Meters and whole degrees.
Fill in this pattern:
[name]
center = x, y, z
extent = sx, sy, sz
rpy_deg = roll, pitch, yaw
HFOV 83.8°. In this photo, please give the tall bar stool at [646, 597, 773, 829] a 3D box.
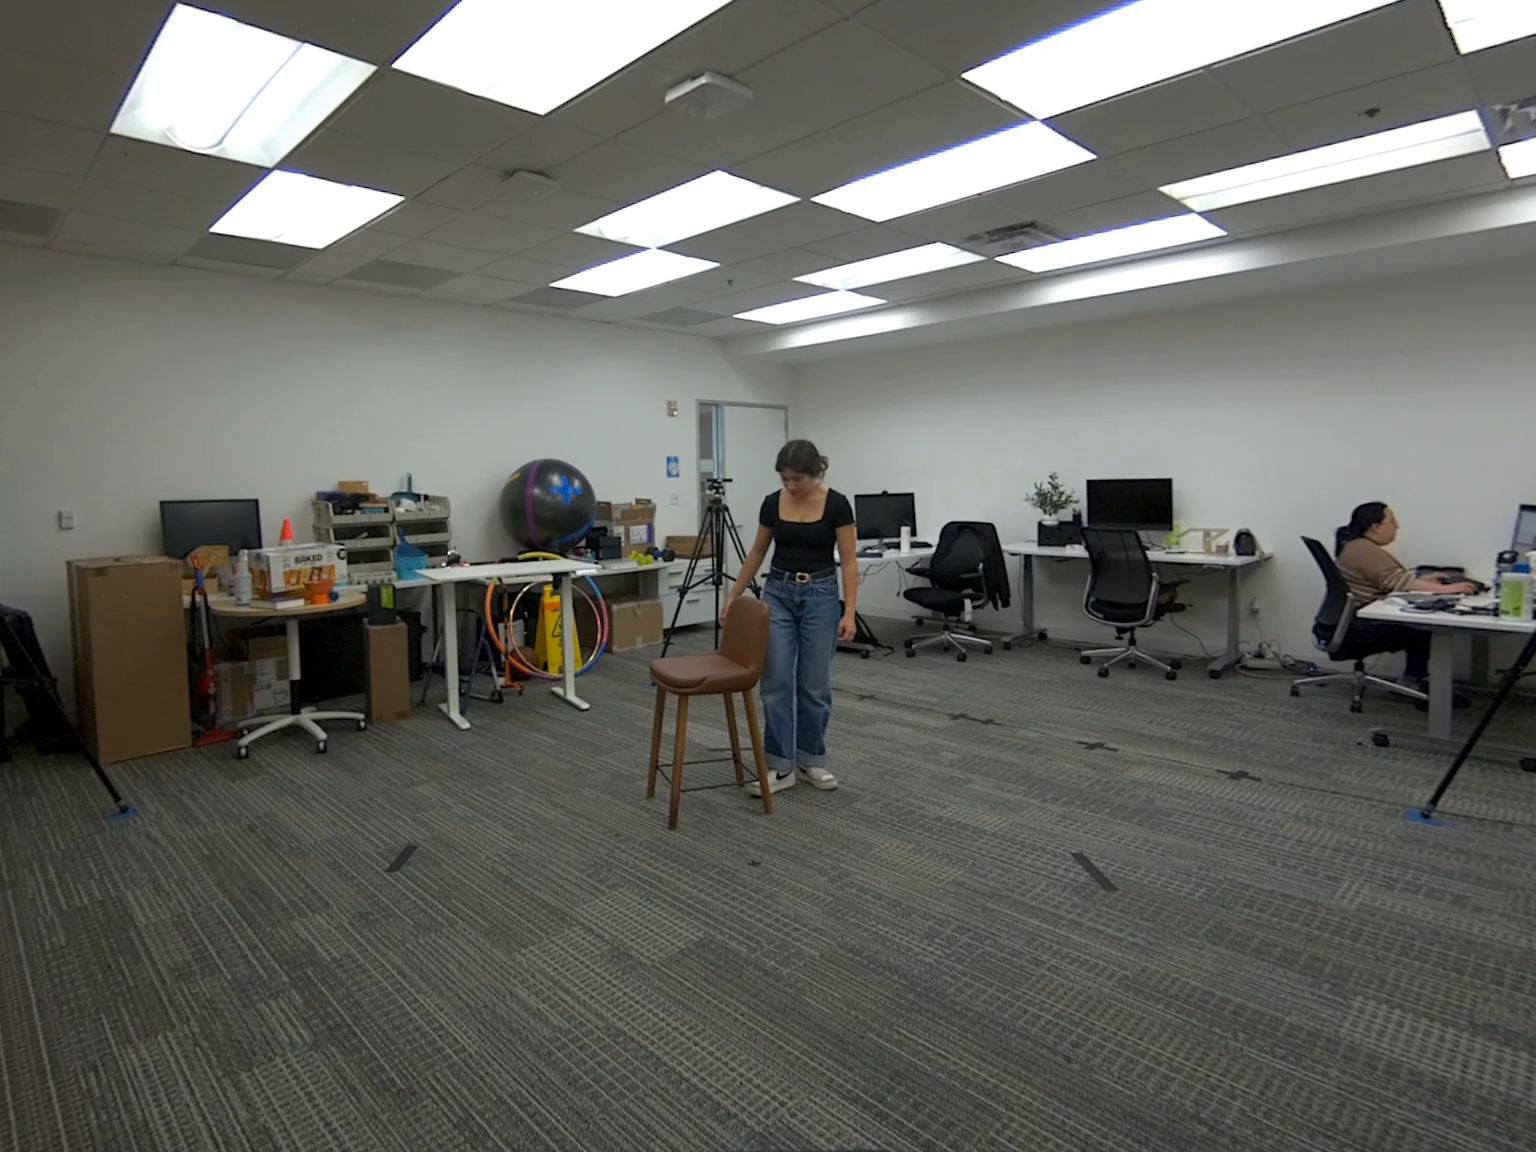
[tall bar stool]
center = -0.251, 0.551, 3.647
extent = 0.459, 0.888, 0.466
rpy_deg = 0, 3, -20
